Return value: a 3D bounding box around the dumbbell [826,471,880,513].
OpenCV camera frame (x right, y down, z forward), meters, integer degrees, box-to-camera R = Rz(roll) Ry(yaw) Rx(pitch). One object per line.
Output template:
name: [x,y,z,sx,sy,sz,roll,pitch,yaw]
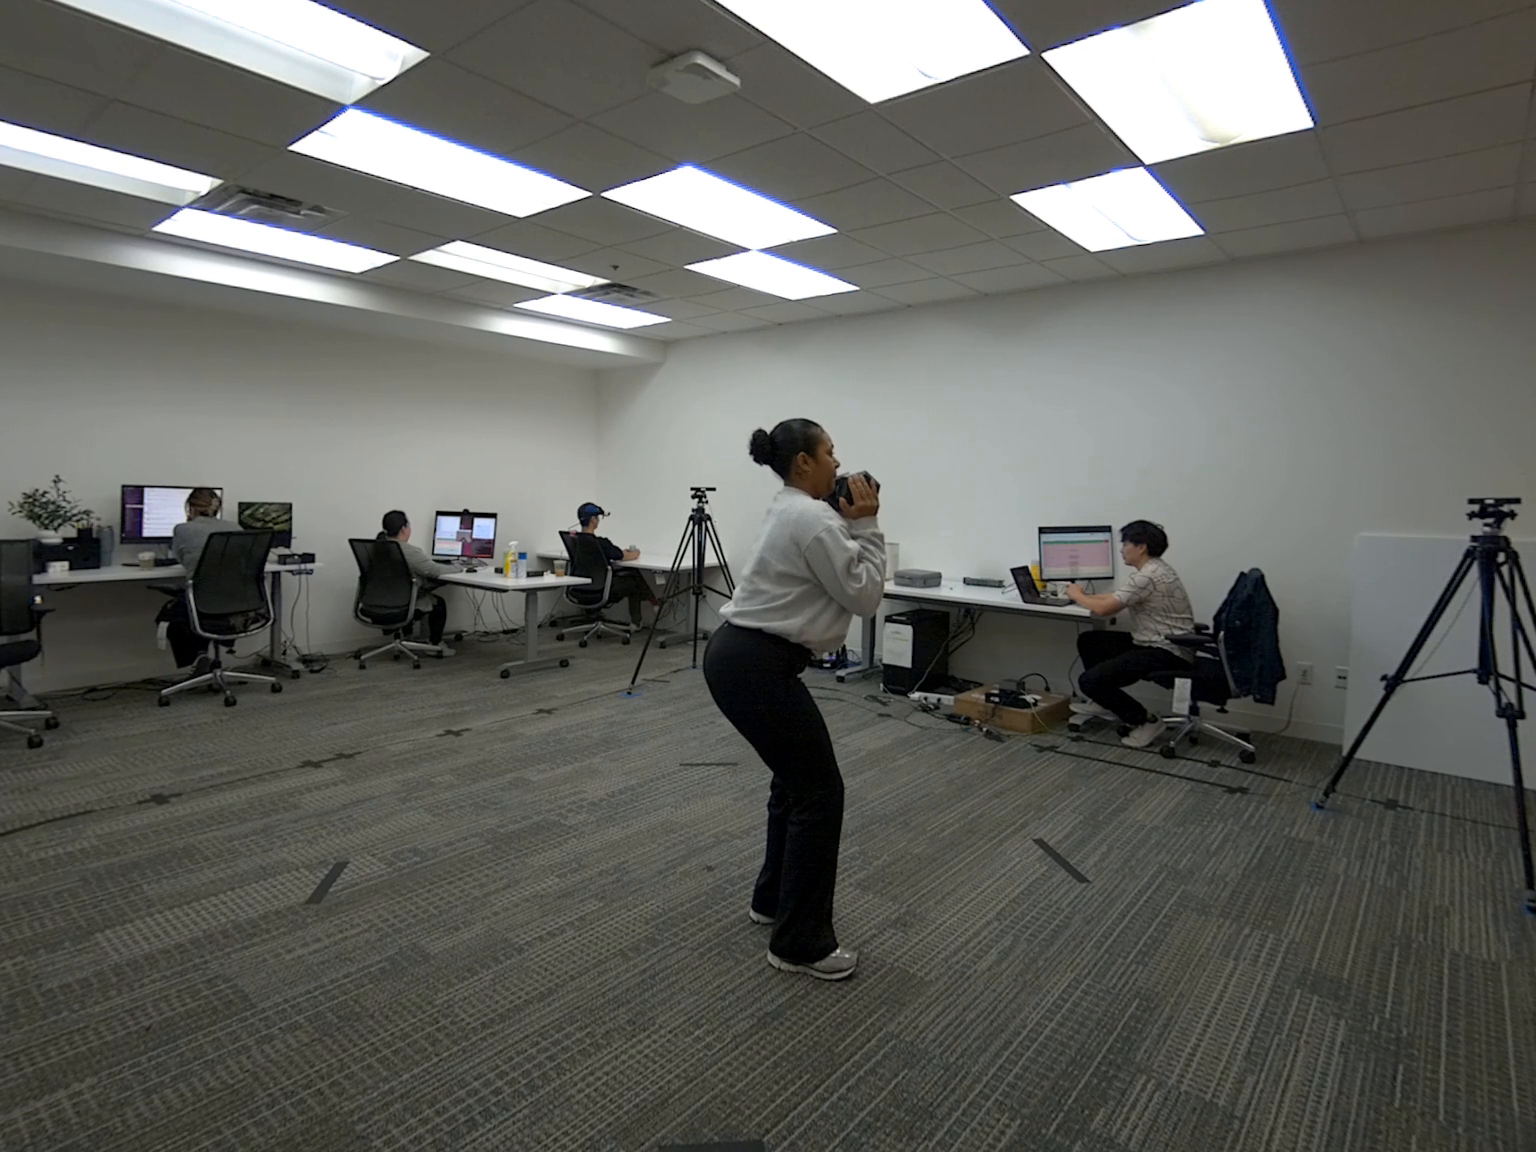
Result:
dumbbell: [0.239,-0.242,2.578,0.121,0.109,0.297,42,-2,-10]
